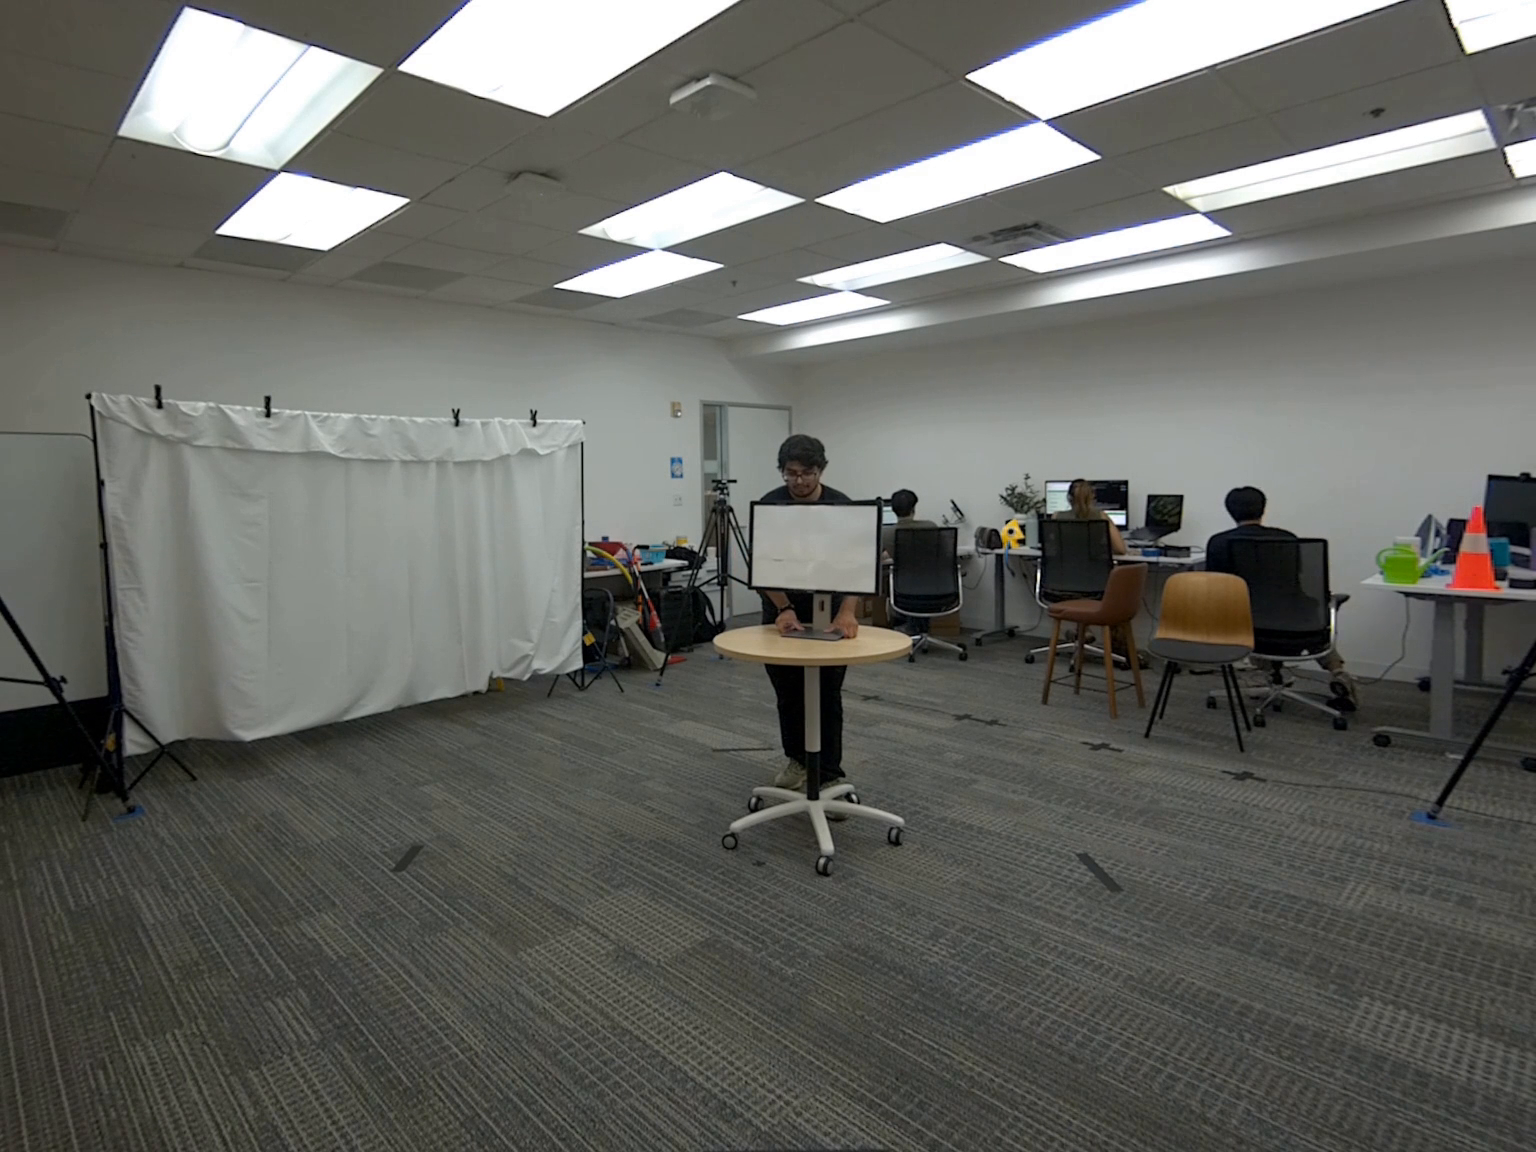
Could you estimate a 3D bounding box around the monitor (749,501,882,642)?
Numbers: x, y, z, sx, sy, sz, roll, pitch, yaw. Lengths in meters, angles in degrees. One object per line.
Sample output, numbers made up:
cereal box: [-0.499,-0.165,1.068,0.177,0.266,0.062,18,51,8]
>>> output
monitor: [0.209,-0.030,3.415,0.580,0.552,0.205,2,4,29]
